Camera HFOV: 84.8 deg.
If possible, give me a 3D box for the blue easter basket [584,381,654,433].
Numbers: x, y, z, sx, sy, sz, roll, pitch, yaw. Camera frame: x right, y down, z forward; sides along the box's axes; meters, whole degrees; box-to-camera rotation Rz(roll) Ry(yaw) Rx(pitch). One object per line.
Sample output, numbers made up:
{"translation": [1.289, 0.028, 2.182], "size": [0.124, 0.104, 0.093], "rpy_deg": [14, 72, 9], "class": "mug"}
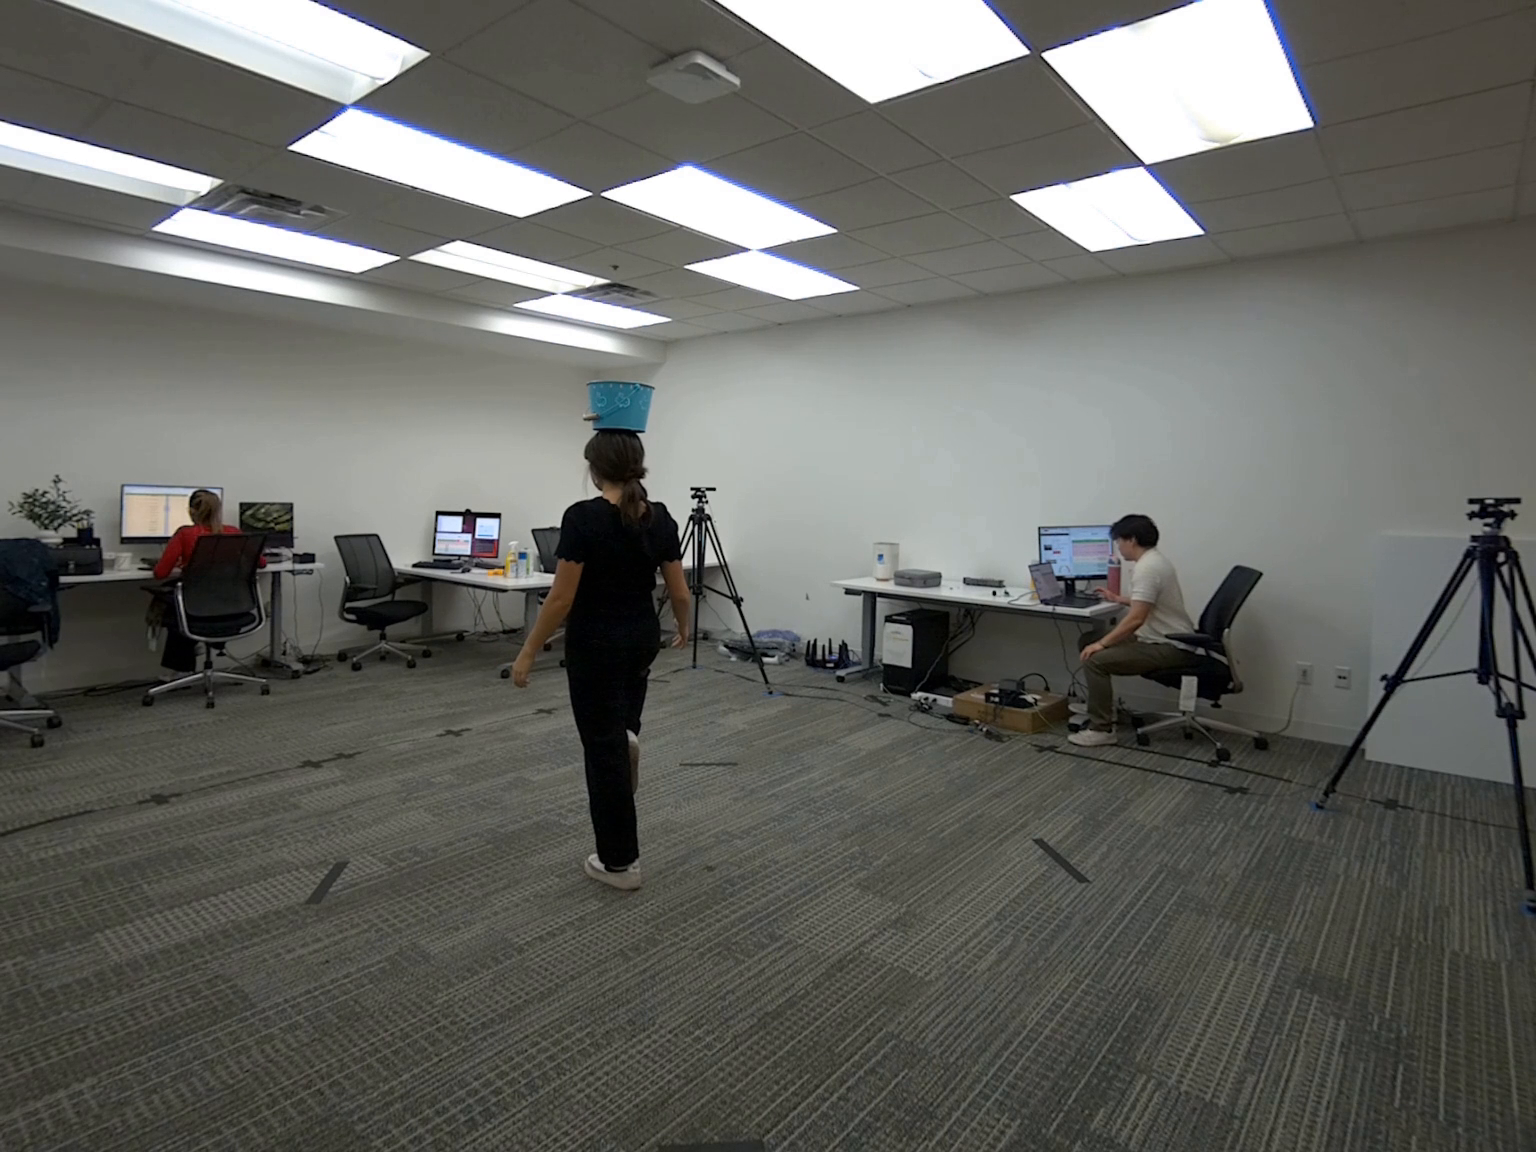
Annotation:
{"translation": [-0.519, -0.574, 2.884], "size": [0.243, 0.155, 0.244], "rpy_deg": [2, 3, -2], "class": "blue easter basket"}
